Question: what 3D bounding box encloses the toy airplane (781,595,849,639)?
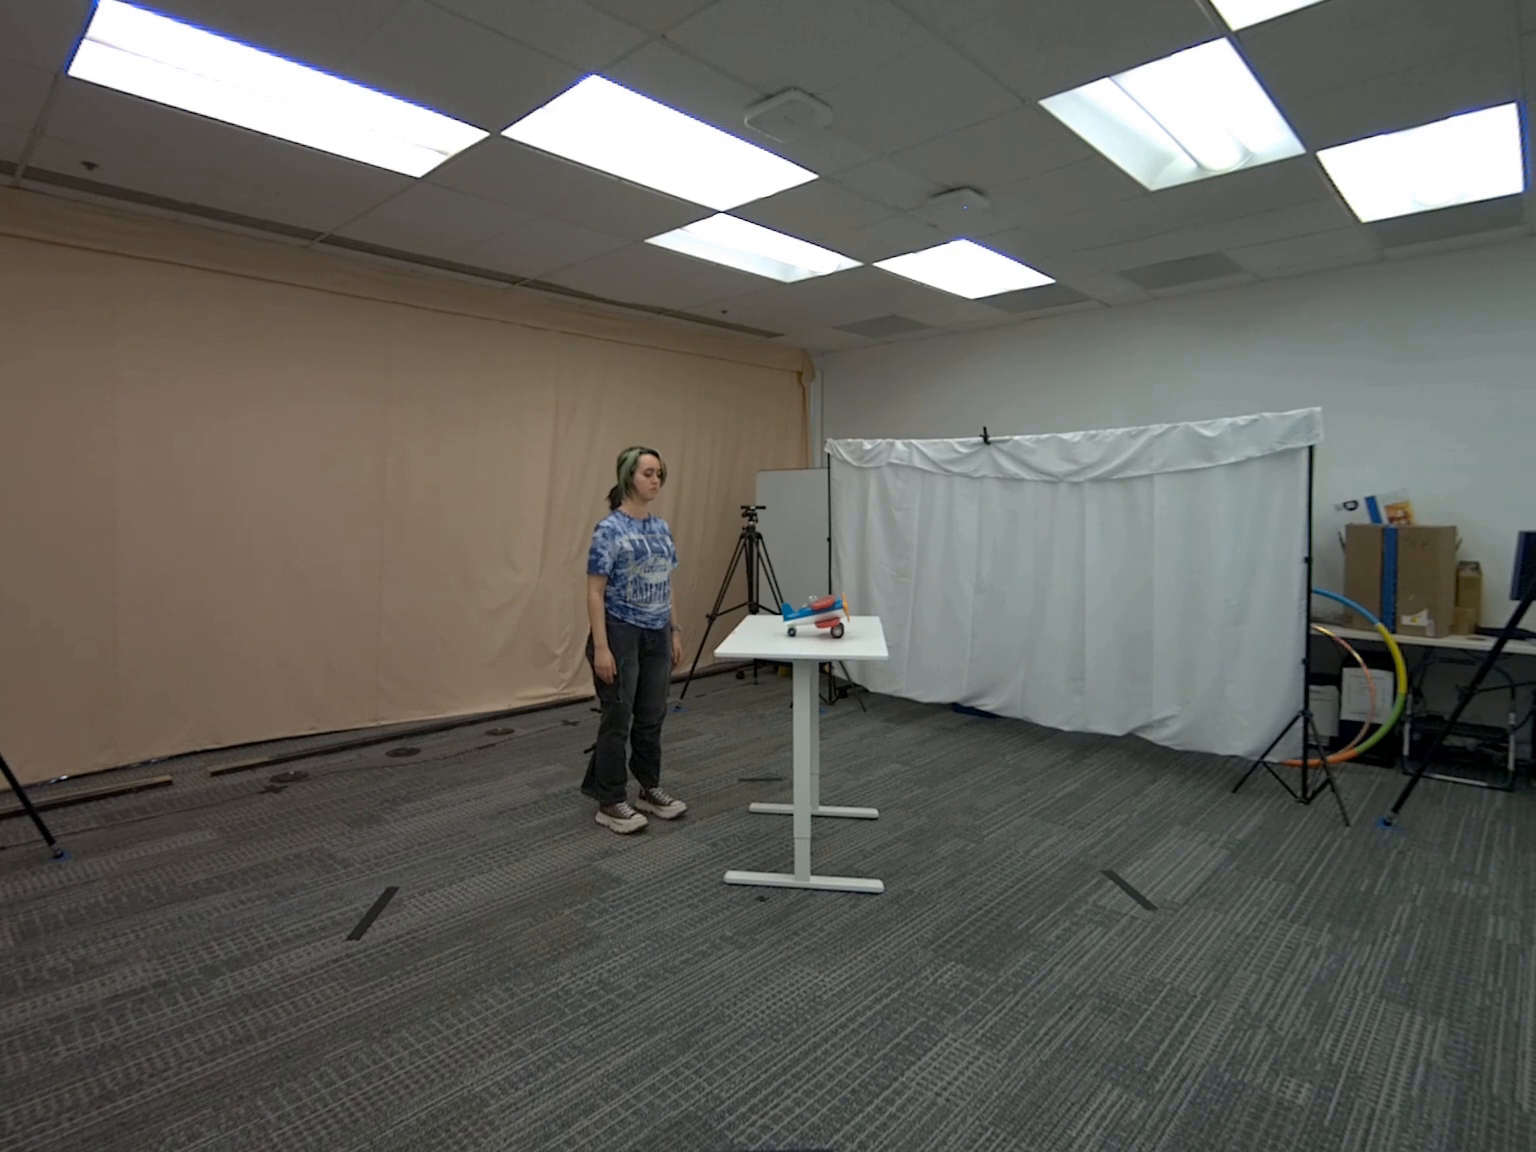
[{"bbox_3d":[0.187,0.162,3.265,0.254,0.156,0.257,-2,5,-22],"label":"toy airplane"}]
